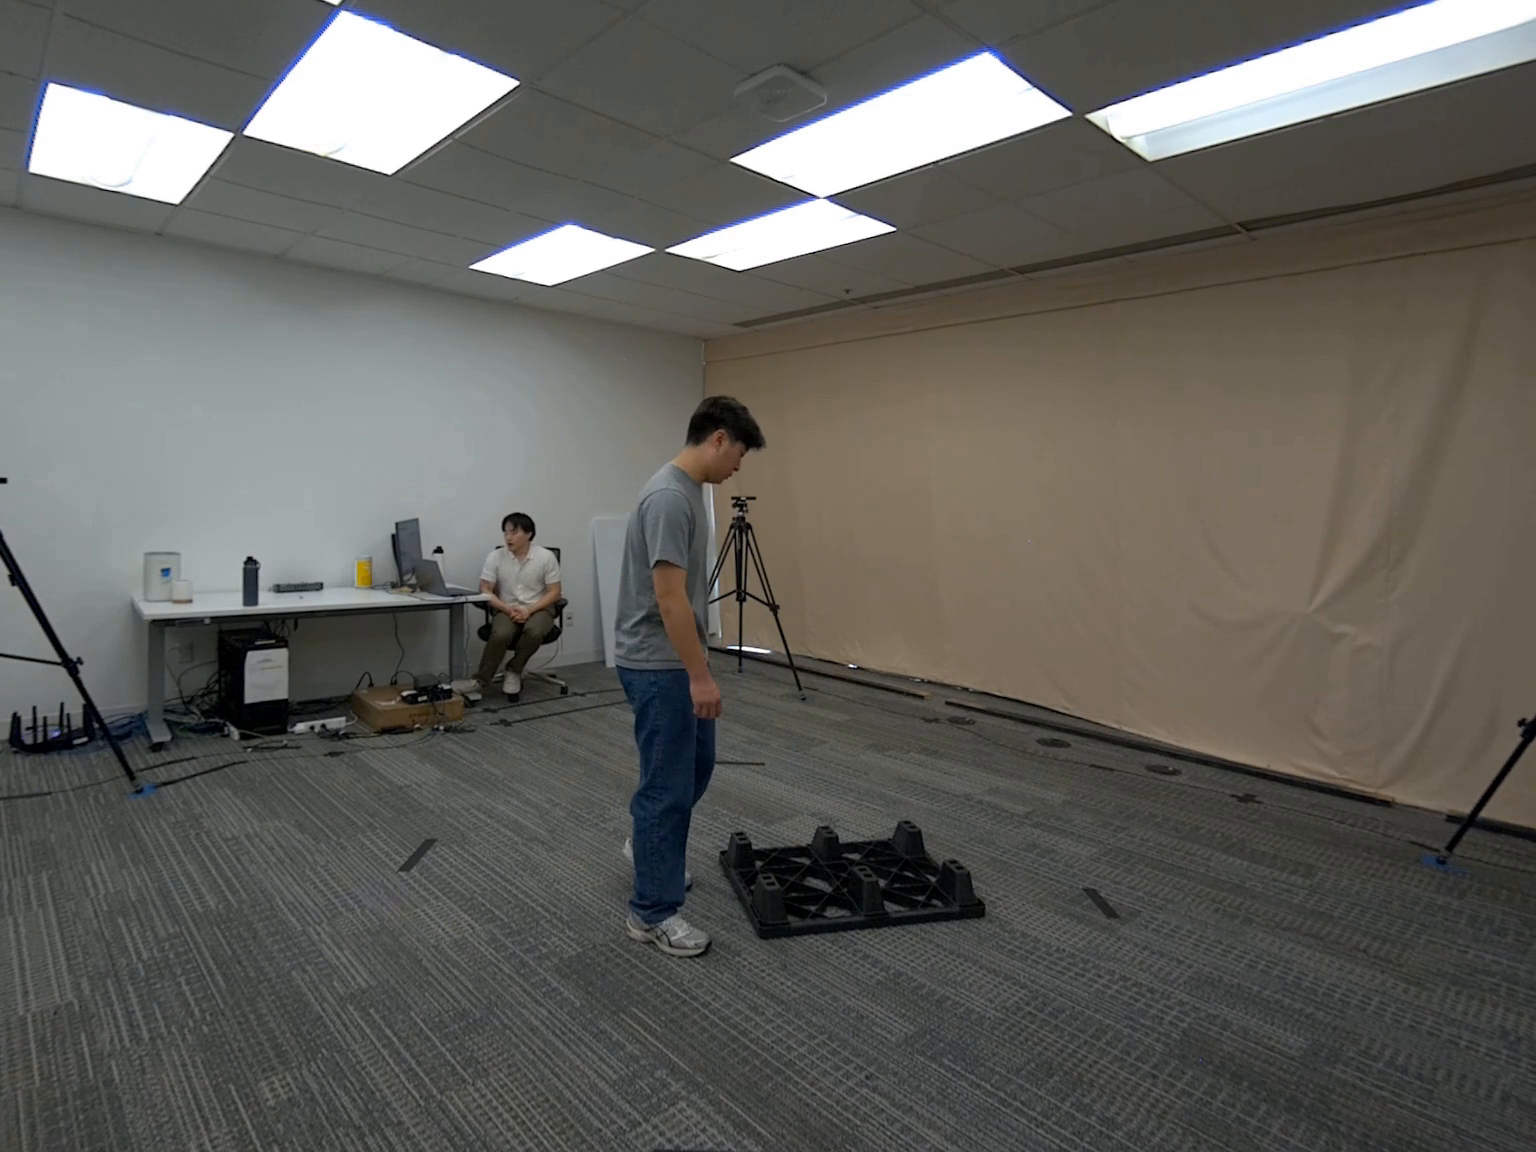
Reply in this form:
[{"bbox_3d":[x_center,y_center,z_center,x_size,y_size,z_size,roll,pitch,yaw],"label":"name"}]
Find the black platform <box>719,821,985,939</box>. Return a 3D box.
[{"bbox_3d":[0.270,1.053,3.035,0.796,0.143,0.614,0,6,-16],"label":"black platform"}]
